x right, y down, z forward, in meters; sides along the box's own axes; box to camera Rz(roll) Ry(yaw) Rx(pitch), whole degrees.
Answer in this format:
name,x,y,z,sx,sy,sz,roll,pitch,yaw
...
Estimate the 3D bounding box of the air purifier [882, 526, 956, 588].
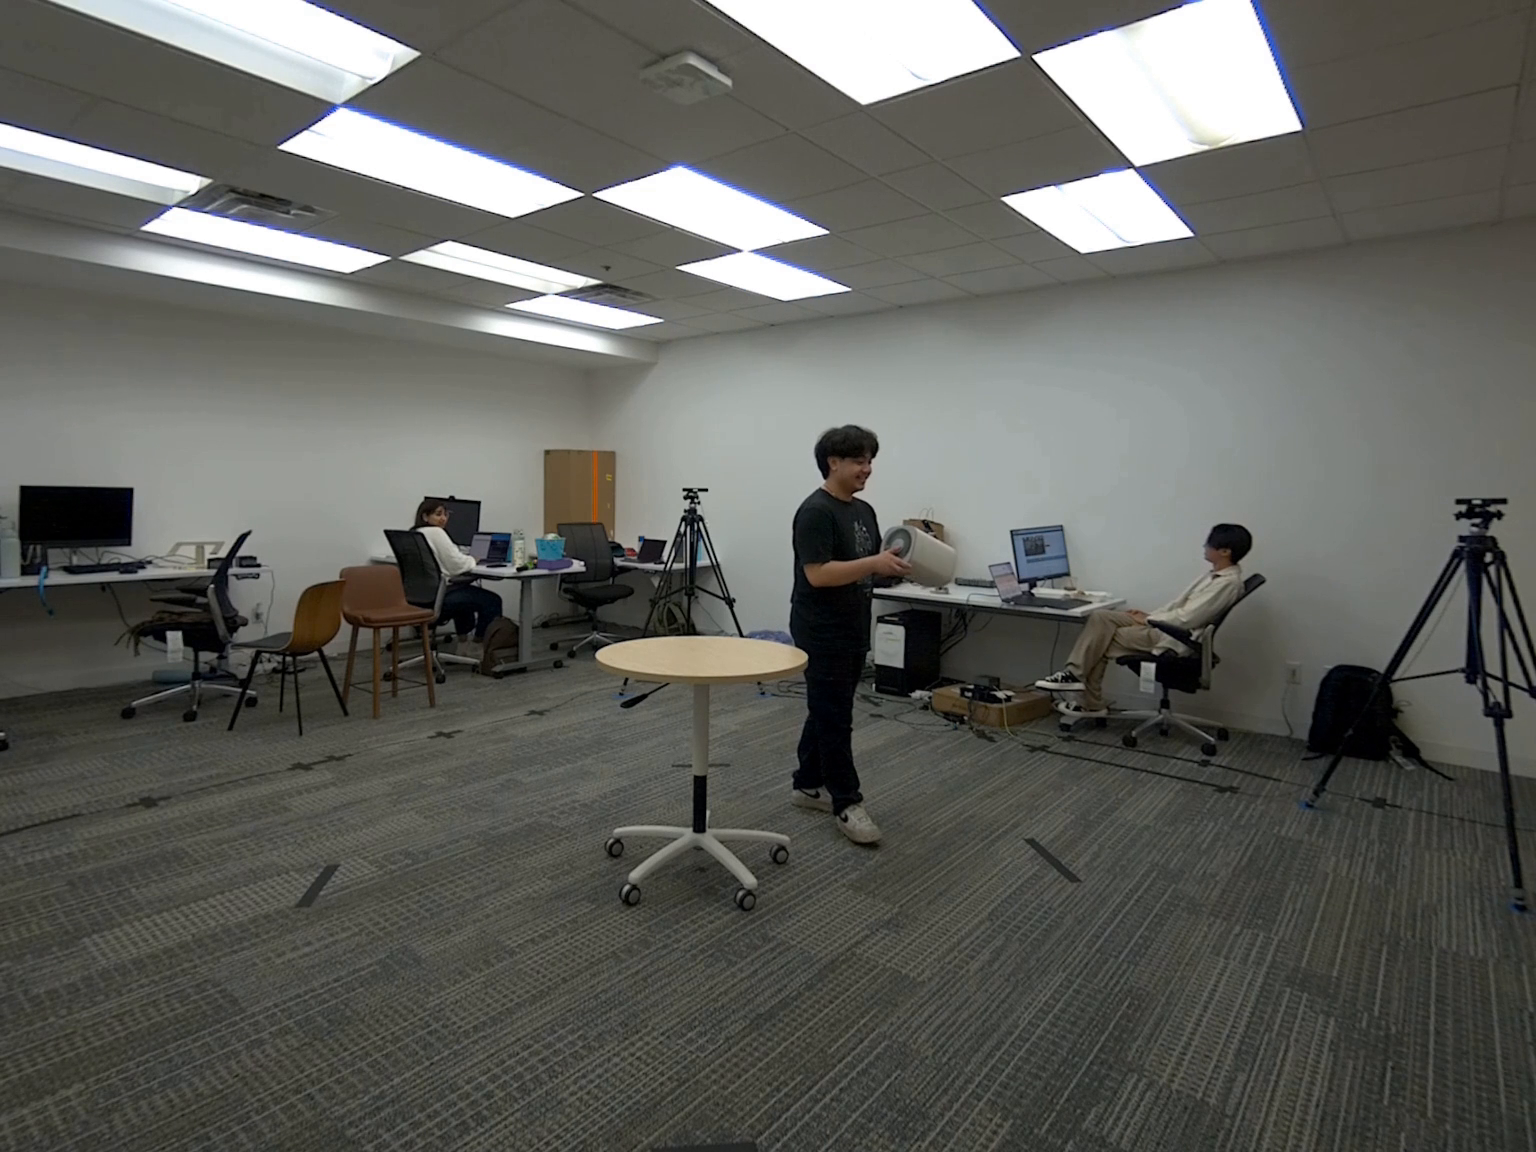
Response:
name,x,y,z,sx,sy,sz,roll,pitch,yaw
air purifier,0.591,-0.078,3.354,0.255,0.173,0.176,24,-17,-34
